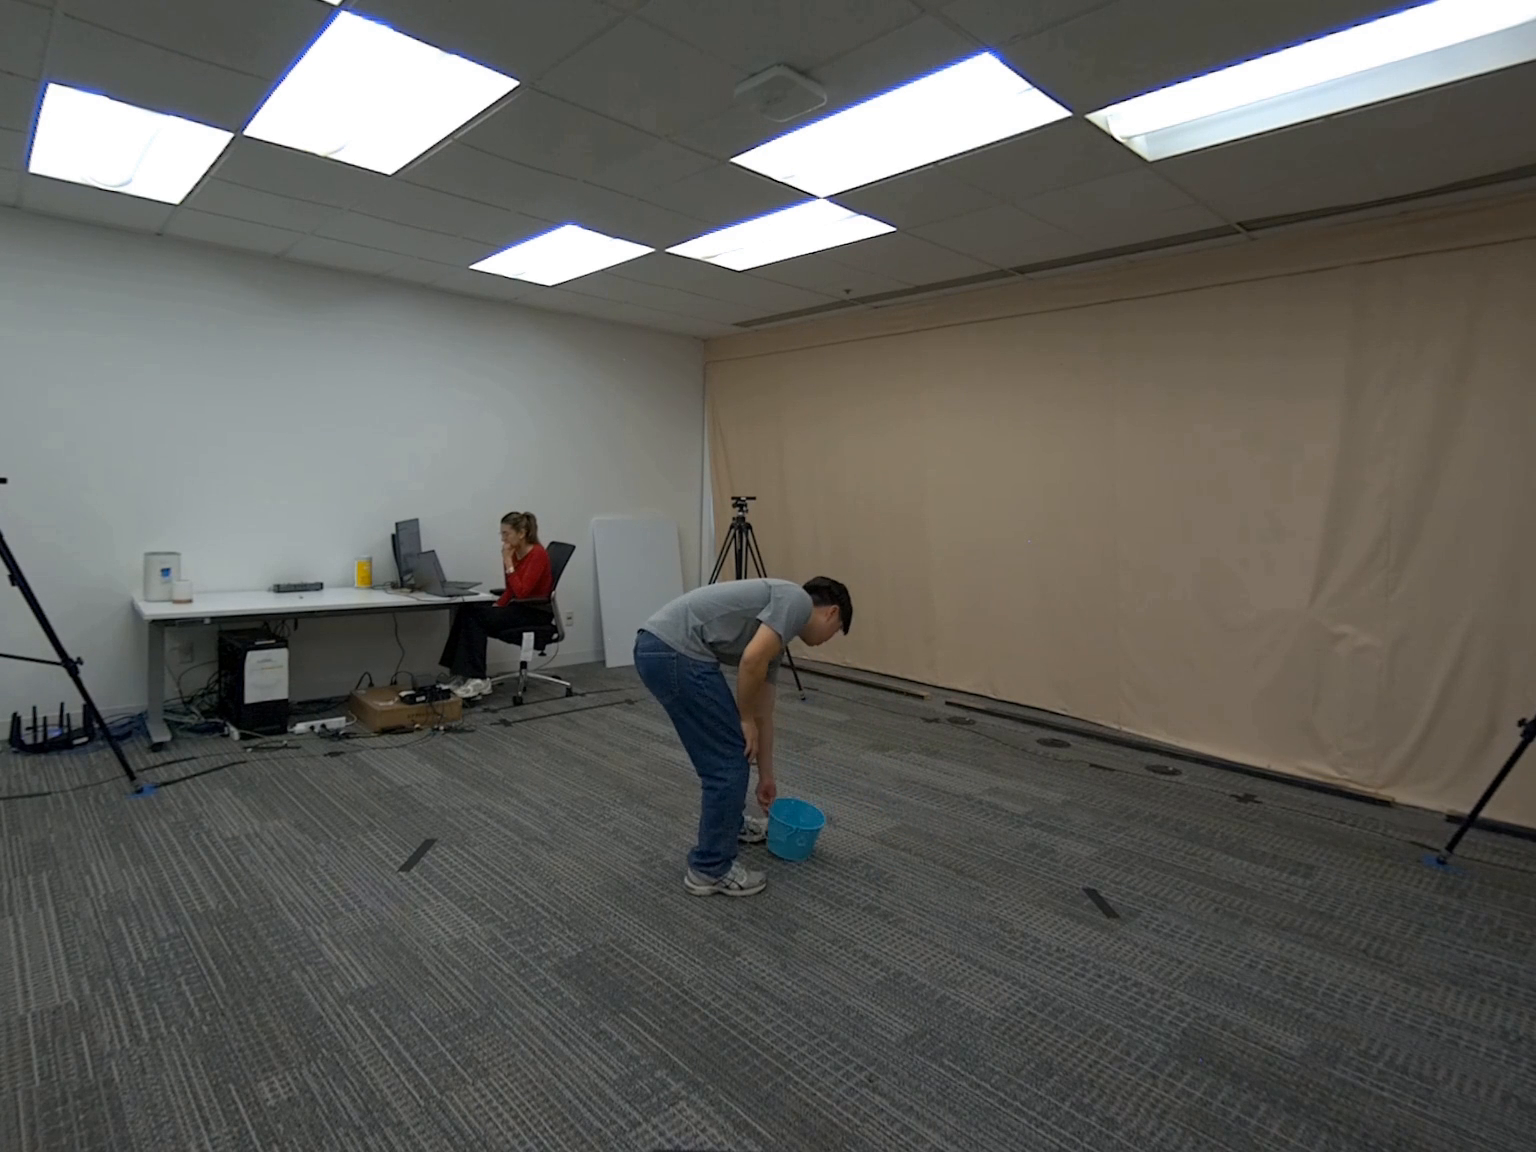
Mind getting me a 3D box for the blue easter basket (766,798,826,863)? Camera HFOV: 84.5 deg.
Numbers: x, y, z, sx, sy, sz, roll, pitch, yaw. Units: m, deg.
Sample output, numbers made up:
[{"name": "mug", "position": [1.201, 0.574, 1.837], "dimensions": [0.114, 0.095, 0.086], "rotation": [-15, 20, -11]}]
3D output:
[{"name": "blue easter basket", "position": [0.087, 0.999, 3.315], "dimensions": [0.243, 0.155, 0.245], "rotation": [10, 9, -3]}]
